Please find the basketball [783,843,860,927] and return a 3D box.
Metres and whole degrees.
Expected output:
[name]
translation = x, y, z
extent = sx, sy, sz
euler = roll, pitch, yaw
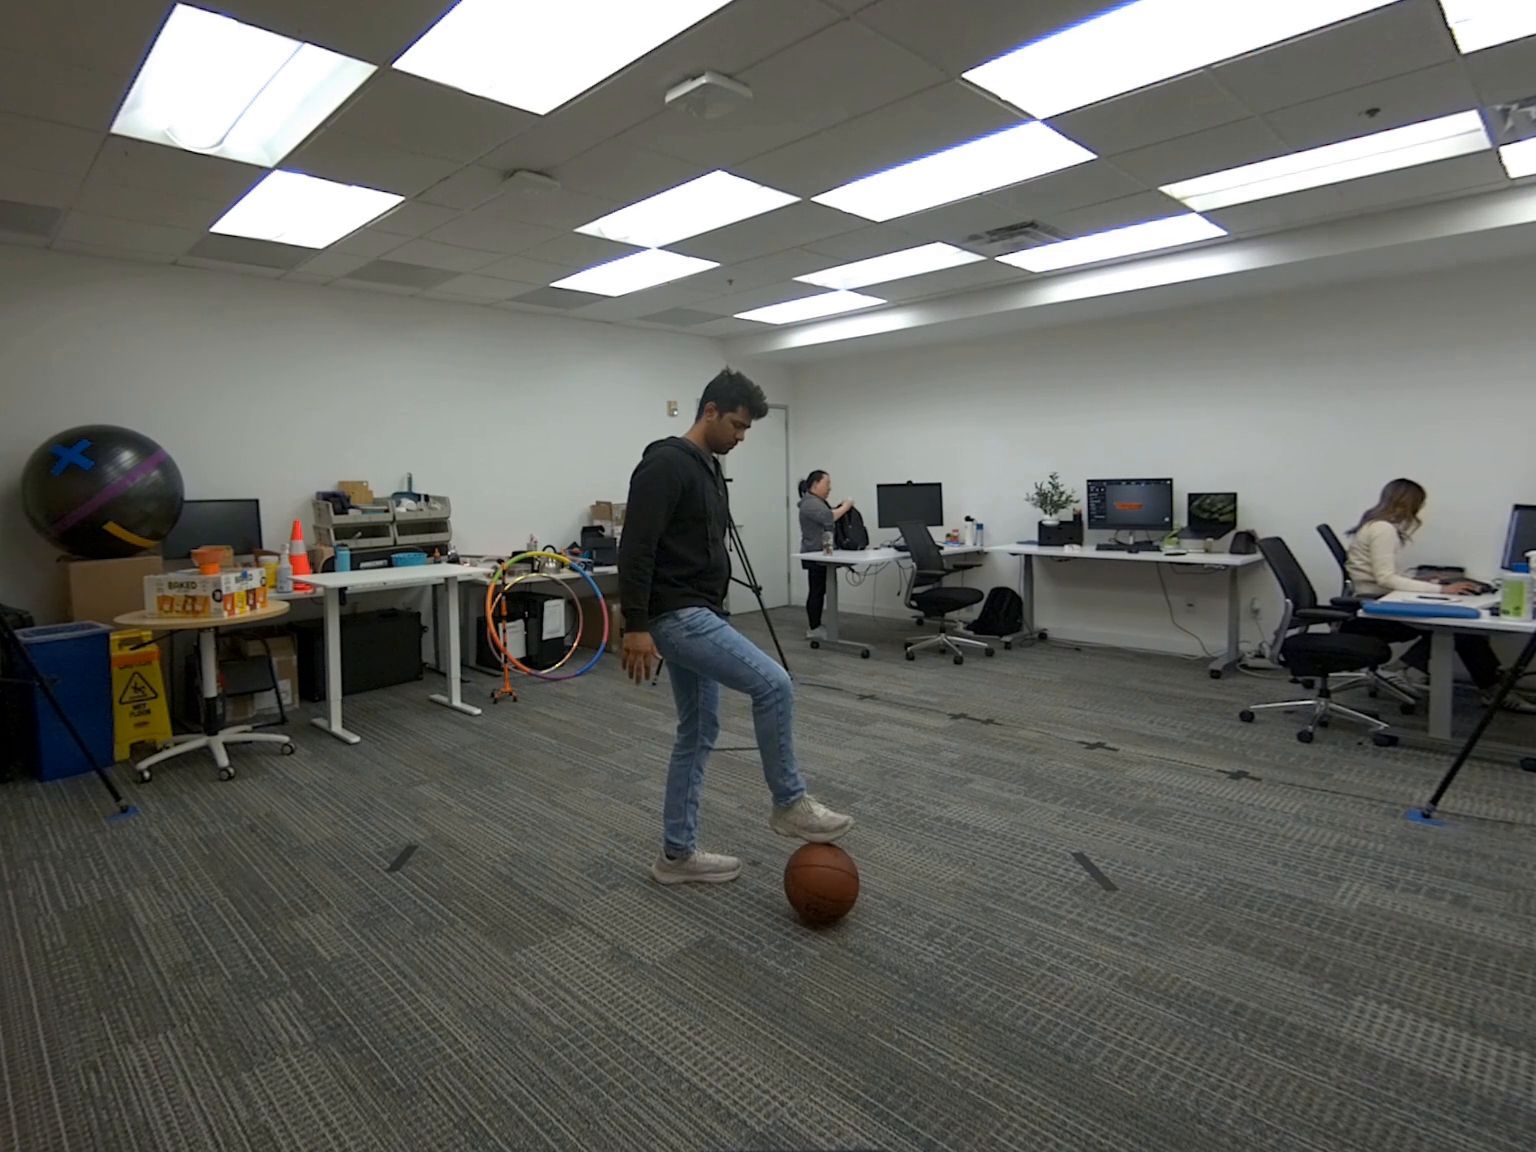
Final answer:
[basketball]
translation = 0.162, 0.966, 2.696
extent = 0.236, 0.235, 0.237
euler = -1, 5, -2
